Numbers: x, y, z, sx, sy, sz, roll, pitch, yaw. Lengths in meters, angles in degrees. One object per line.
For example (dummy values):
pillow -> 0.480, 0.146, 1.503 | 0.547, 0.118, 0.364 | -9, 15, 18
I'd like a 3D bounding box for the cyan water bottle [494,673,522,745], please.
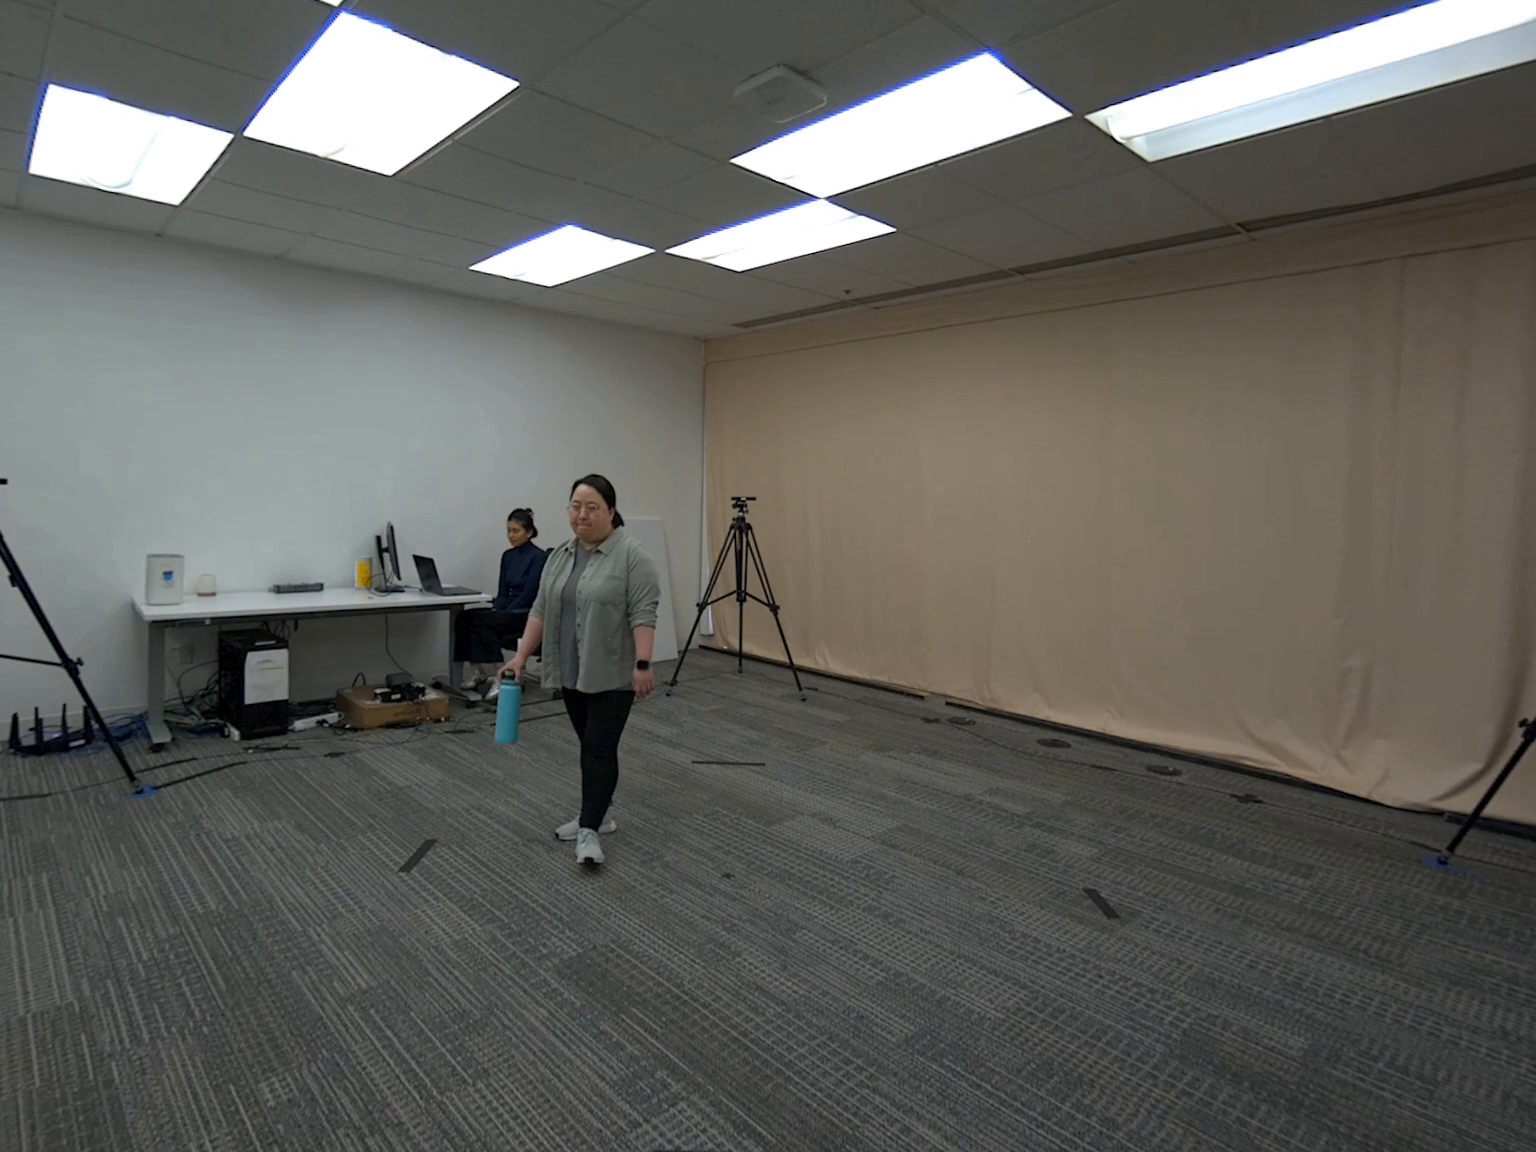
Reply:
cyan water bottle -> -1.037, 0.522, 3.386 | 0.092, 0.284, 0.092 | 2, -4, -1
